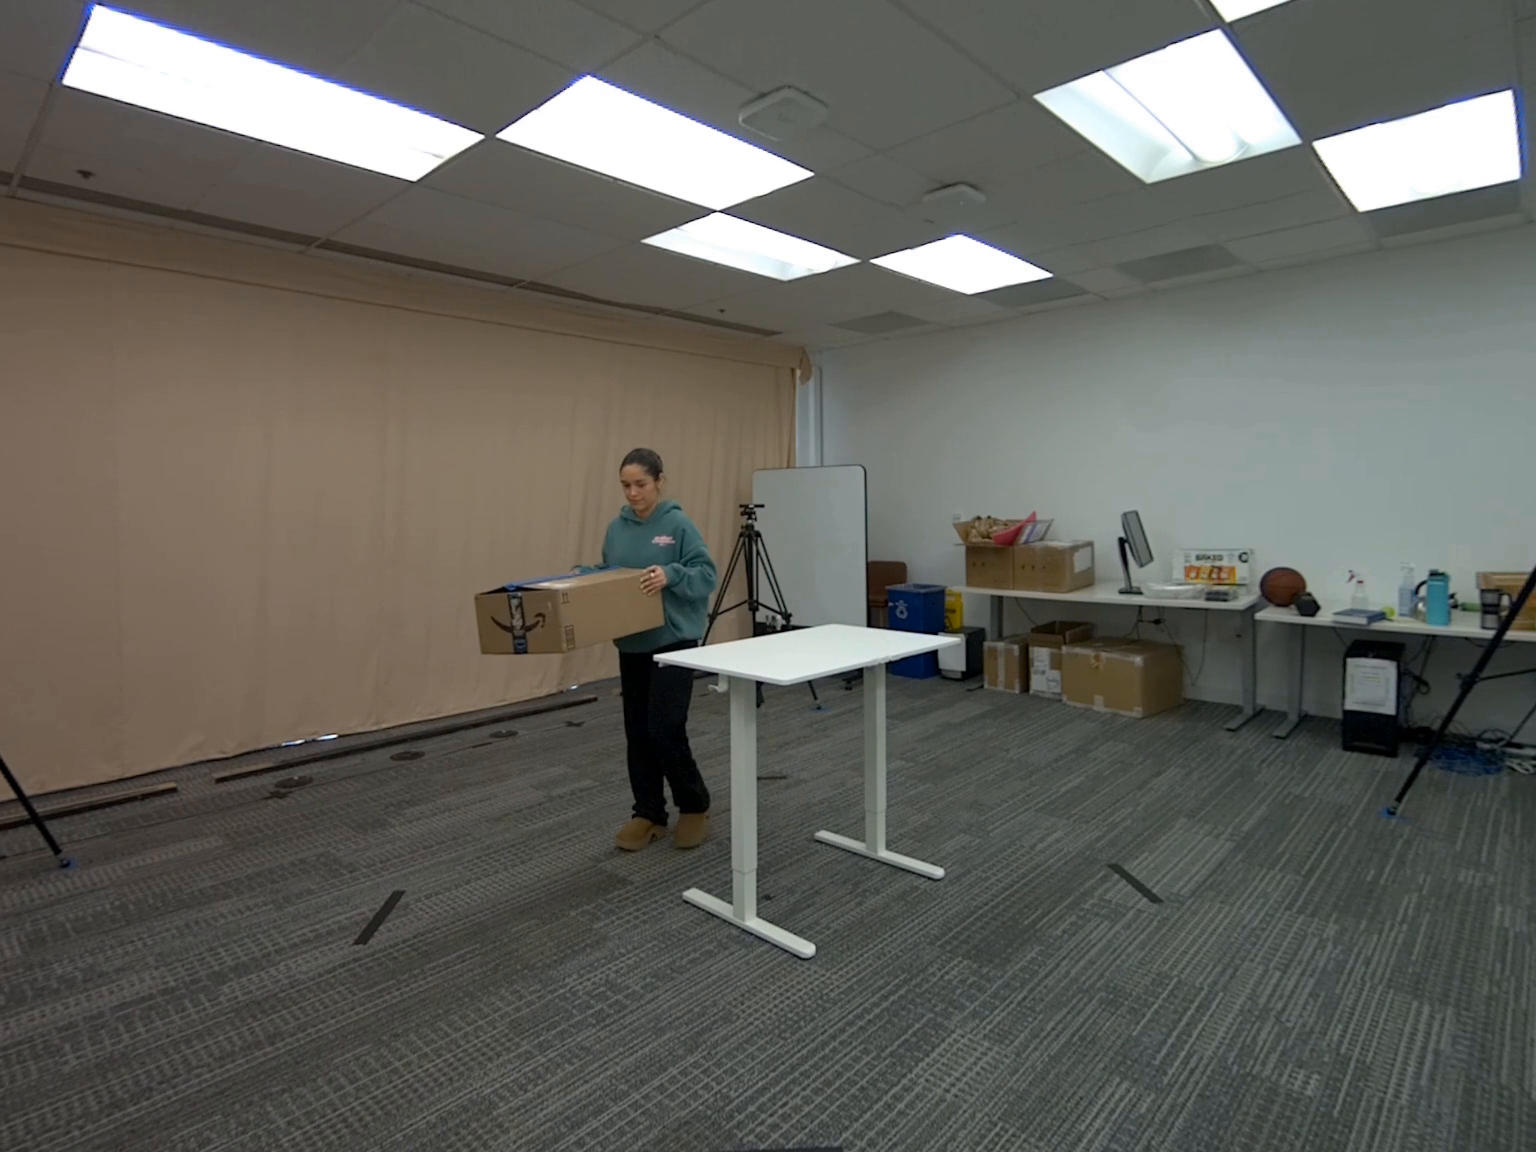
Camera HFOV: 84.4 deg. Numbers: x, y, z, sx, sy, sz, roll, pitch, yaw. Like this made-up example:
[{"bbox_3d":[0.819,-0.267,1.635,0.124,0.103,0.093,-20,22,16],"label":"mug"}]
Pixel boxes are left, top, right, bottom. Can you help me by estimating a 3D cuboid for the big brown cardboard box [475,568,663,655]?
[{"bbox_3d":[-0.719,0.124,3.121,0.429,0.232,0.574,-2,5,31],"label":"big brown cardboard box"}]
